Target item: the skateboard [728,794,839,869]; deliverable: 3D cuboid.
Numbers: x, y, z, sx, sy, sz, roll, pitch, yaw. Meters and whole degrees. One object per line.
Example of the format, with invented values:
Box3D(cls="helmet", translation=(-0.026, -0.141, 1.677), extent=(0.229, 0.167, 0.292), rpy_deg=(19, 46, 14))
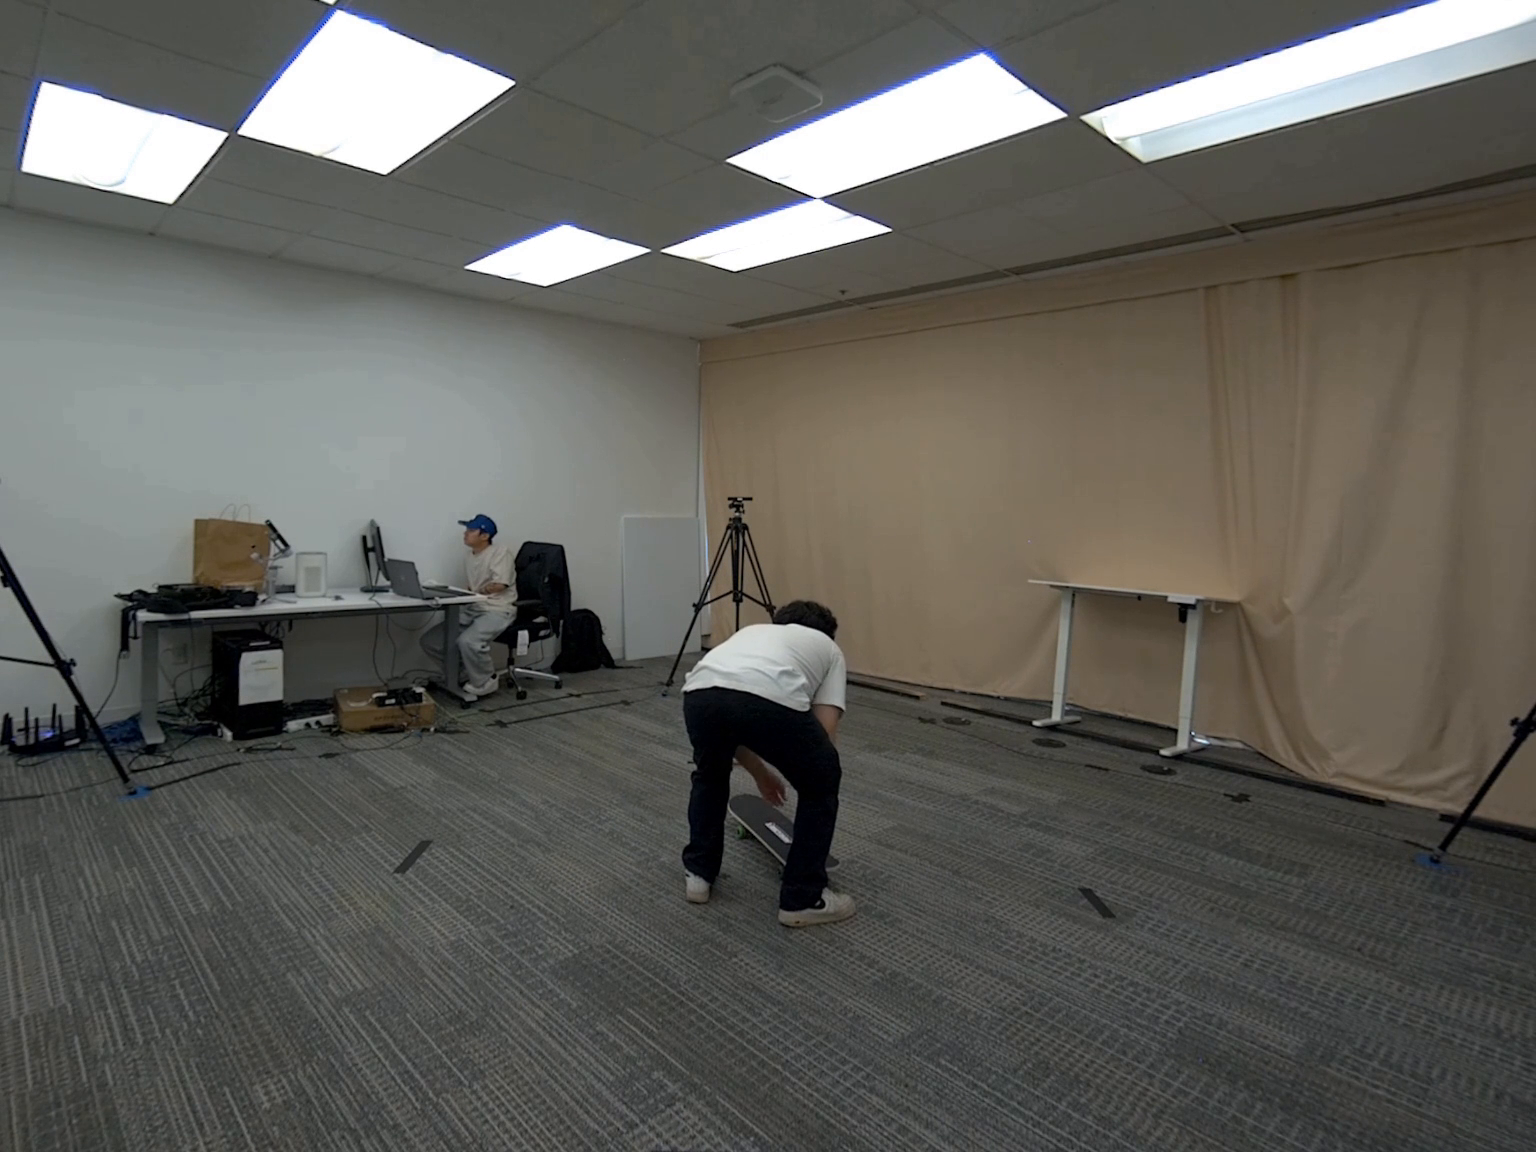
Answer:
Box3D(cls="skateboard", translation=(0.035, 1.038, 3.302), extent=(0.190, 0.110, 0.801), rpy_deg=(0, 6, -23))
